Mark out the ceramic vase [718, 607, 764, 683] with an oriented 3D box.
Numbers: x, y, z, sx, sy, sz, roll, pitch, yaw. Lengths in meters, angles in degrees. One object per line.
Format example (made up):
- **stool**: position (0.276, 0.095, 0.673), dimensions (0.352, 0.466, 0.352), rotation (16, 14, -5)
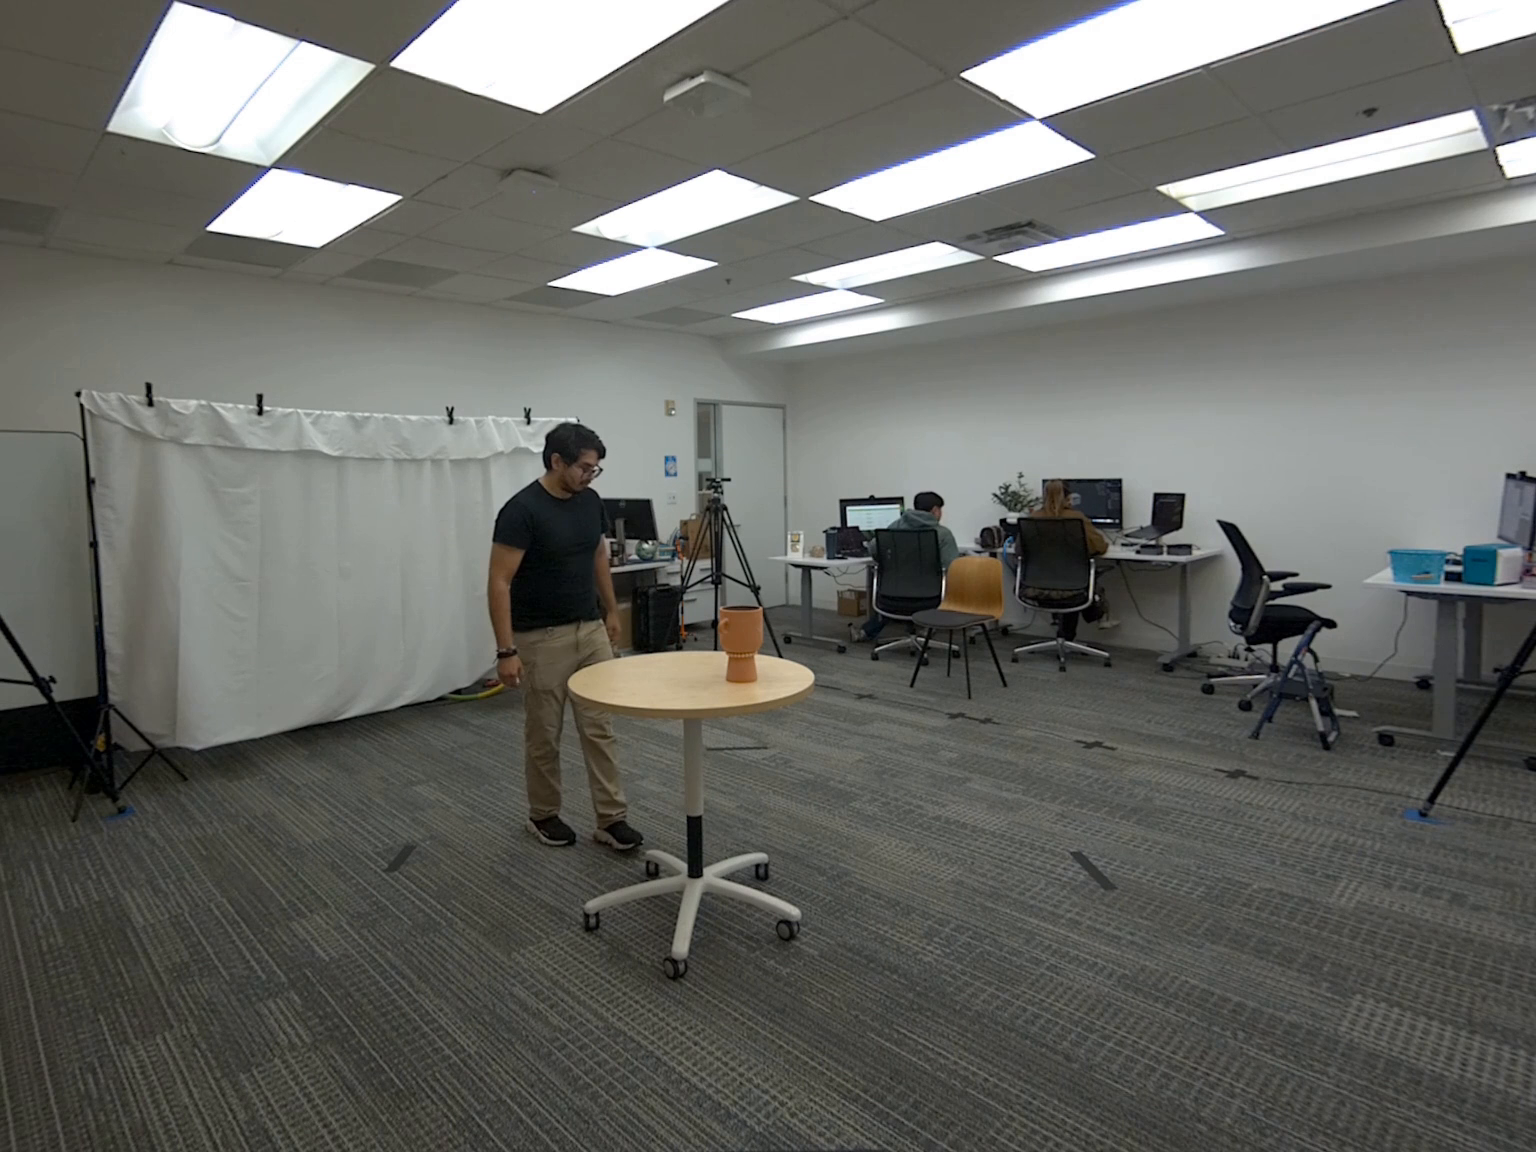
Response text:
- **ceramic vase**: position (-0.072, 0.204, 2.614), dimensions (0.157, 0.219, 0.136), rotation (-2, 4, -12)
